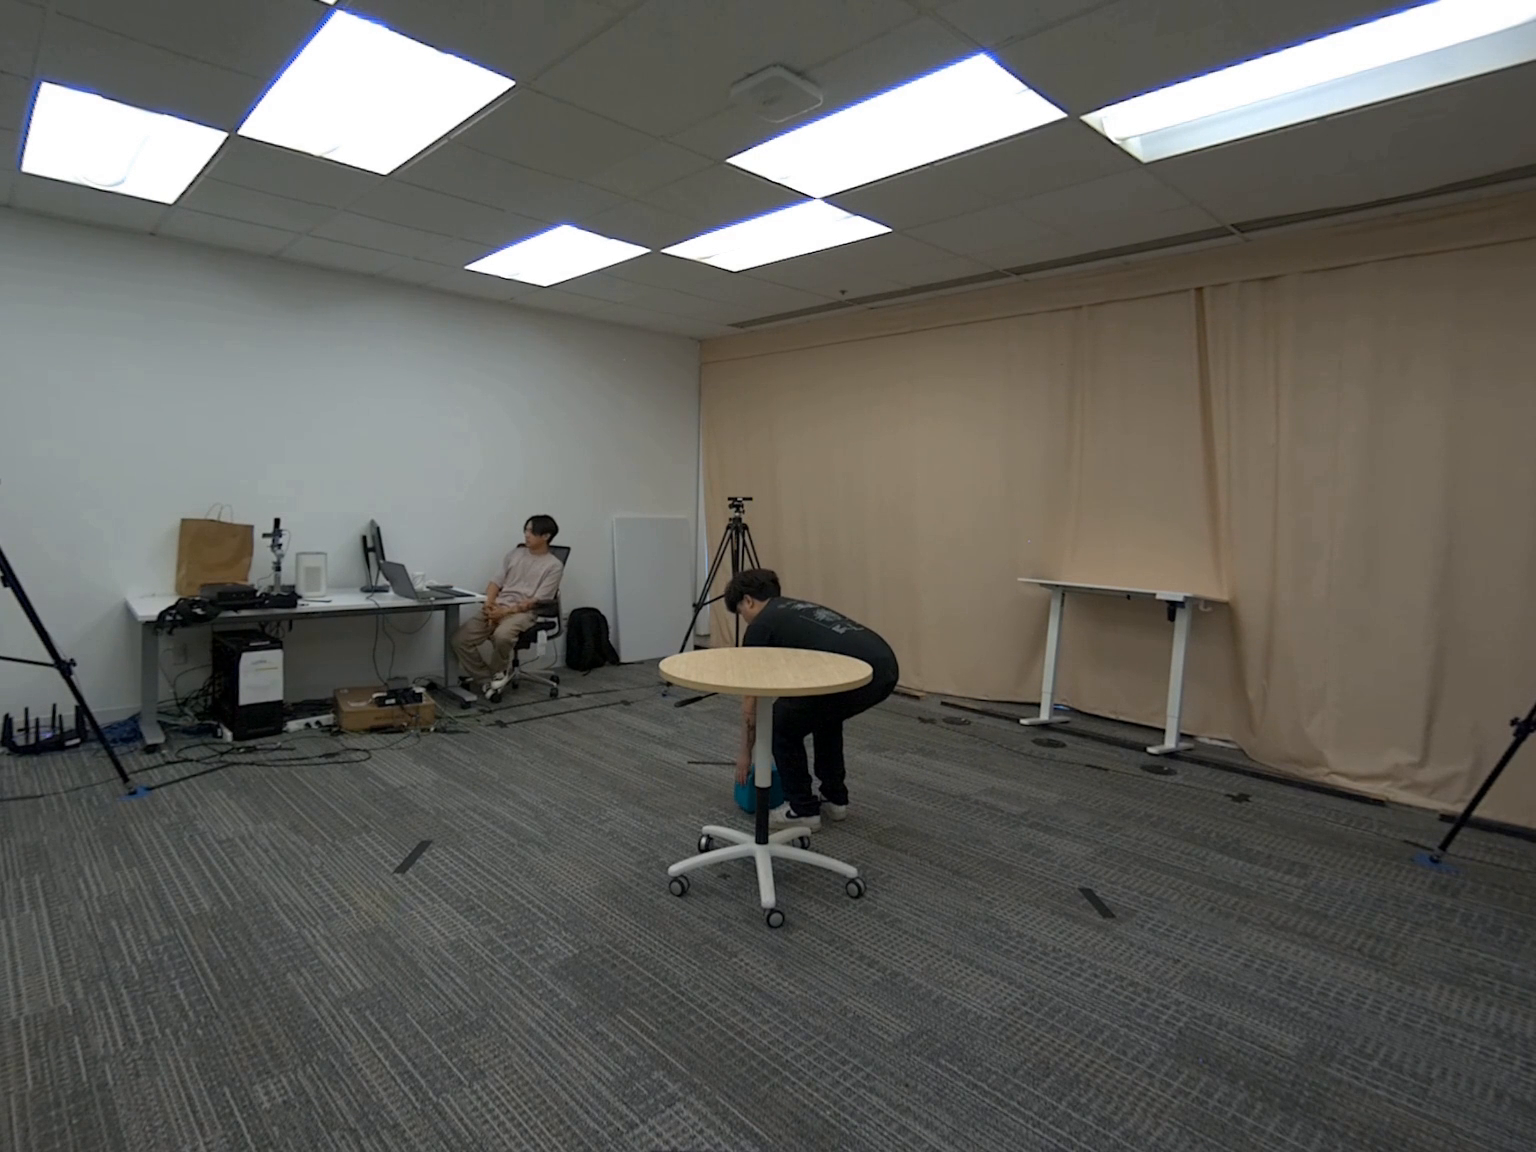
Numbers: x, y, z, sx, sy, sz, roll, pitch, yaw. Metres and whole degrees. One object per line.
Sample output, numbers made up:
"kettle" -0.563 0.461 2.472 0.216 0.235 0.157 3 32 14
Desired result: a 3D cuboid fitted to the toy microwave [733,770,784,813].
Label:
"toy microwave" -0.004 0.934 3.821 0.280 0.183 0.156 -1 8 -32
